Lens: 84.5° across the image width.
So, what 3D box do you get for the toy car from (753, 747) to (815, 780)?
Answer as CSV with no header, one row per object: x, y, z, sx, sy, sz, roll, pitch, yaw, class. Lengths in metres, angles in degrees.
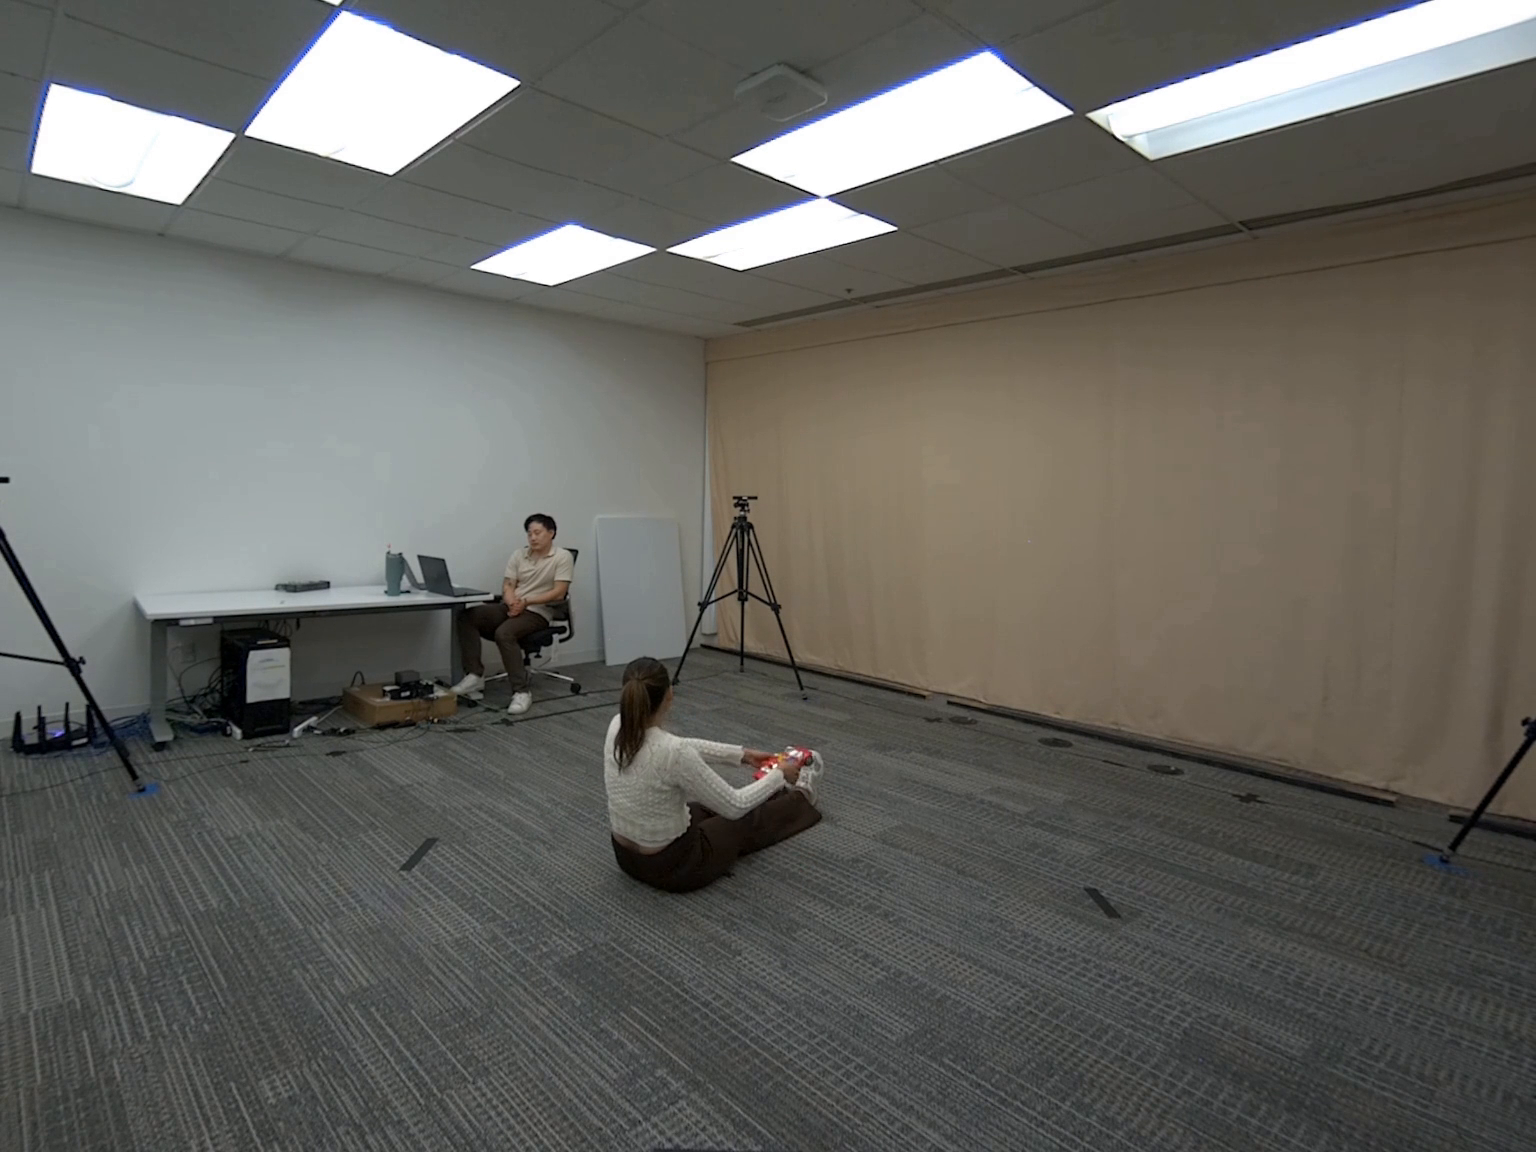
0.040,0.738,3.232,0.250,0.082,0.133,-14,12,-37,toy car
